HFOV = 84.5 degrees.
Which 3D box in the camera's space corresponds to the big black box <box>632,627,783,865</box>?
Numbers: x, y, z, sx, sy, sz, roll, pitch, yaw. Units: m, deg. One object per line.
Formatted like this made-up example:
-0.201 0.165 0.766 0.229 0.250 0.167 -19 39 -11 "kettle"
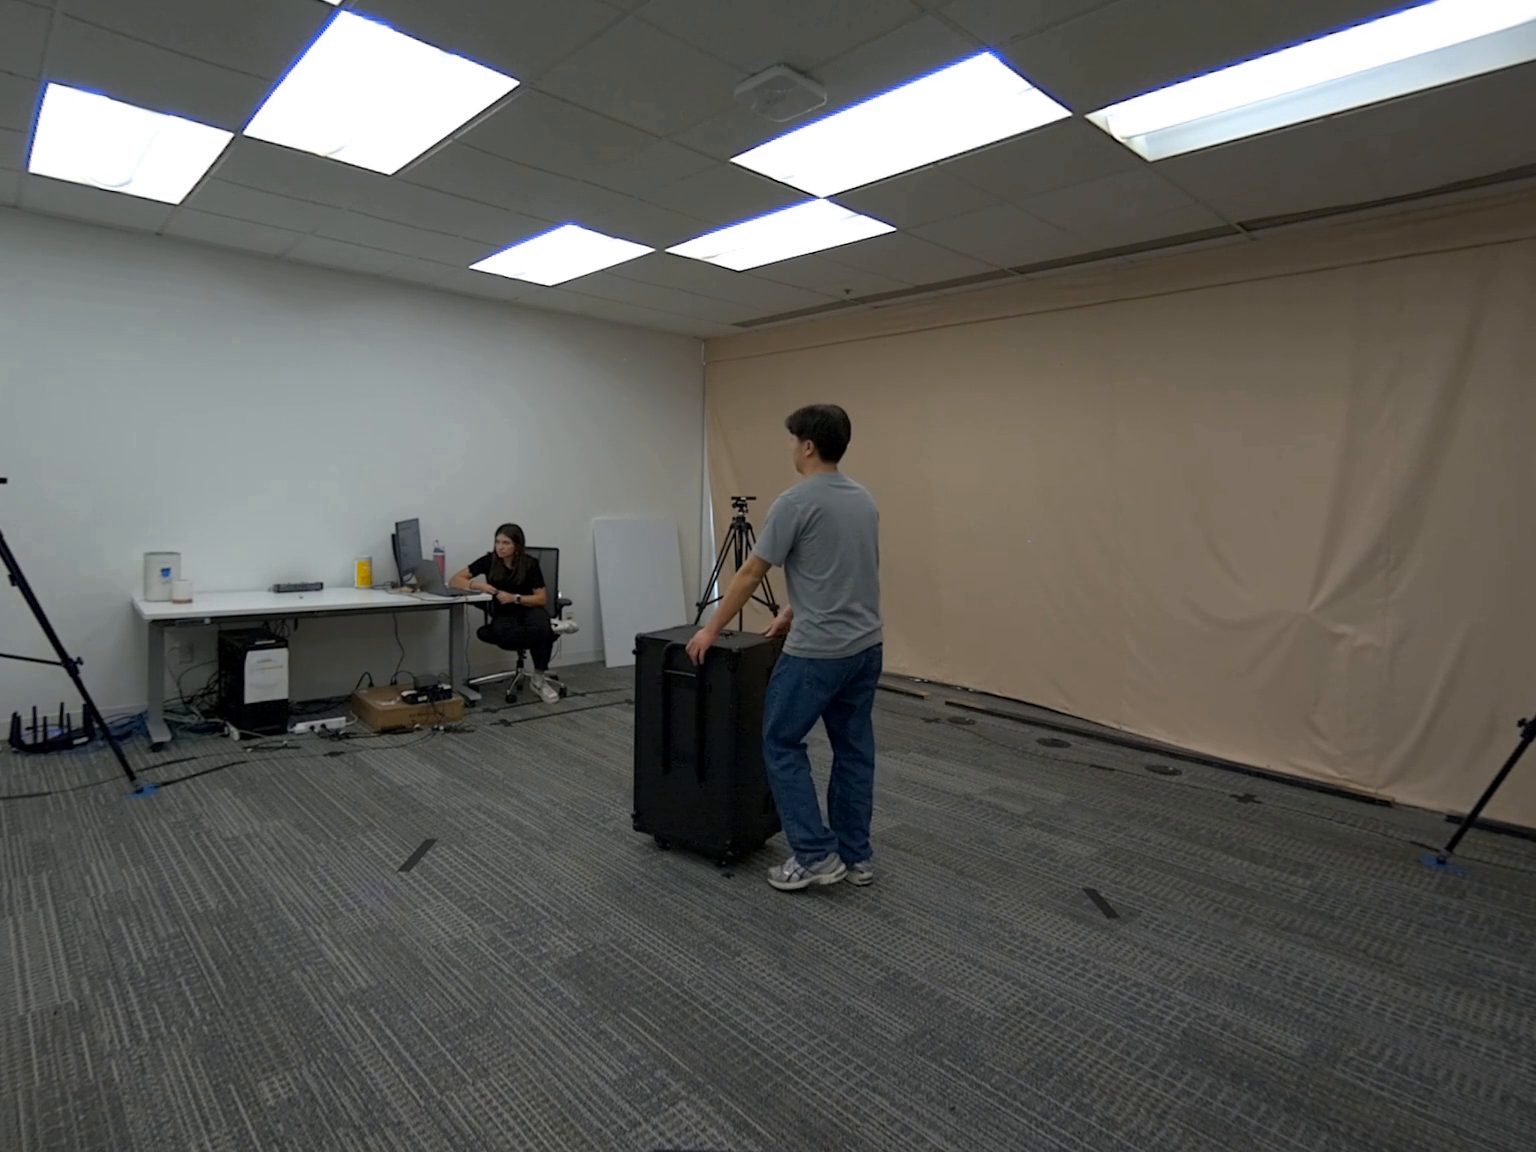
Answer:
-0.238 0.663 3.316 0.533 0.858 0.388 4 6 33 "big black box"
